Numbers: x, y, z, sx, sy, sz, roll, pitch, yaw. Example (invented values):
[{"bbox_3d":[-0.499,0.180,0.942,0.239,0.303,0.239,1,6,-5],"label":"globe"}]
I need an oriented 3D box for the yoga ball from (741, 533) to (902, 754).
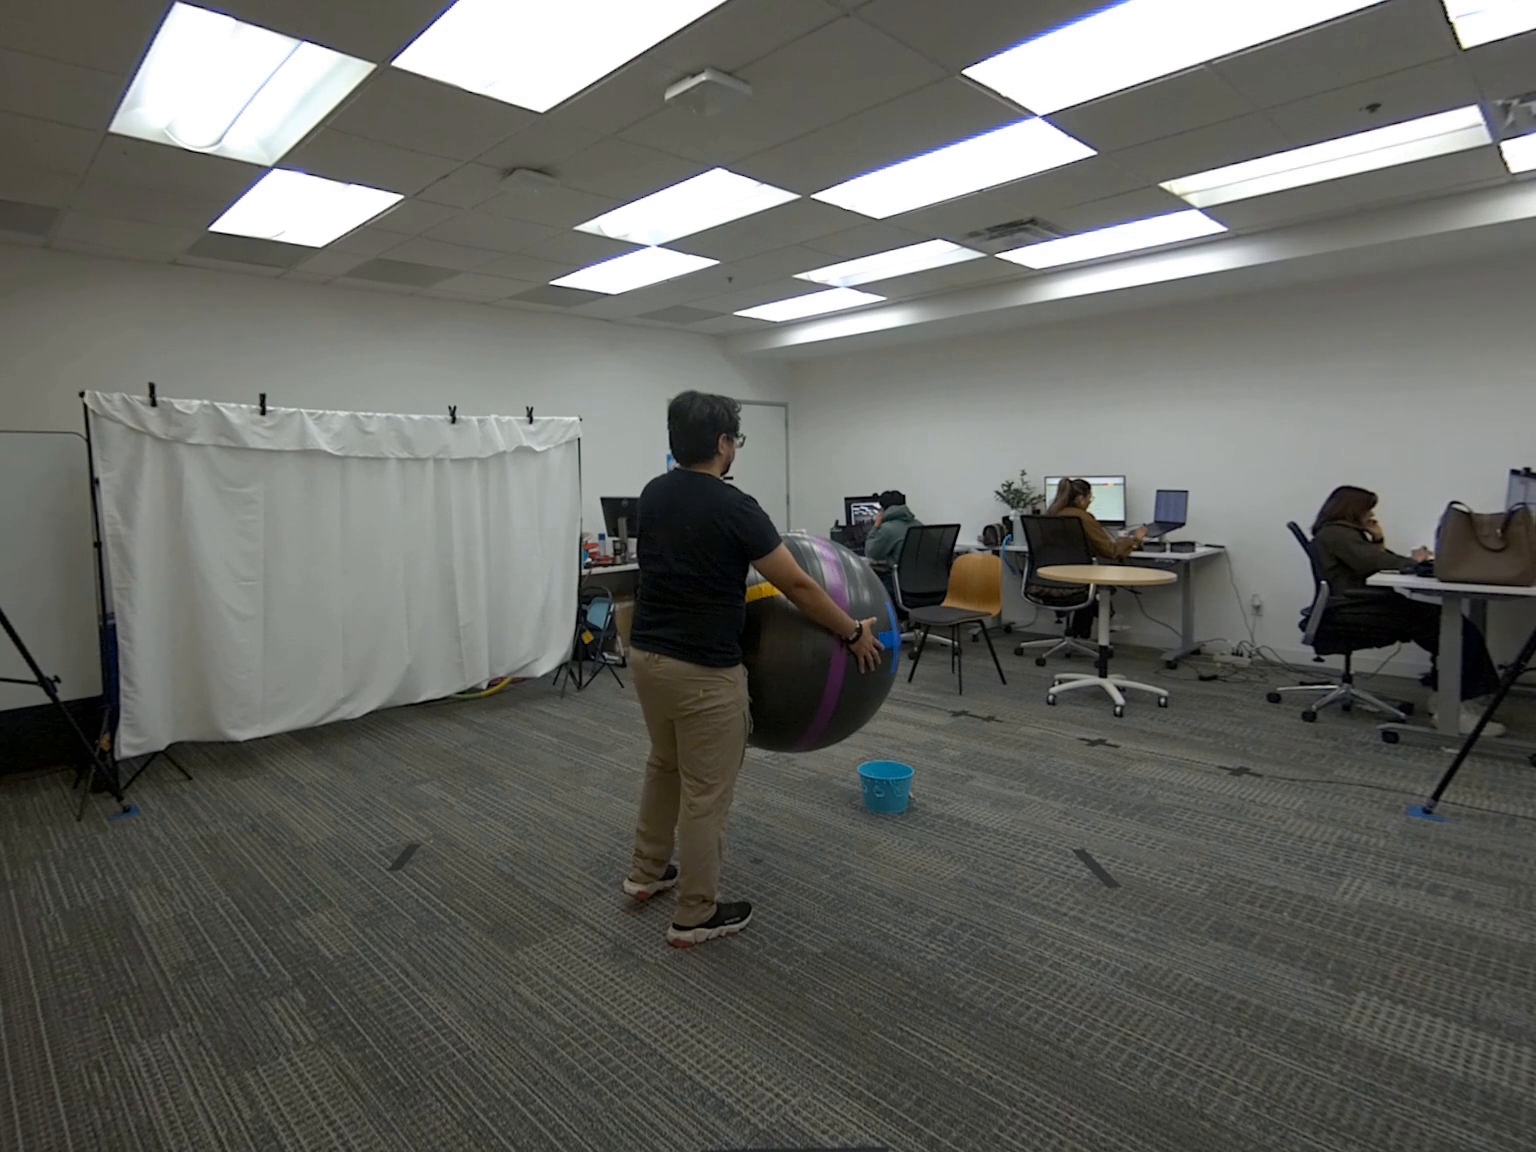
[{"bbox_3d":[0.078,0.230,2.980,0.757,0.755,0.762,-1,5,-2],"label":"yoga ball"}]
